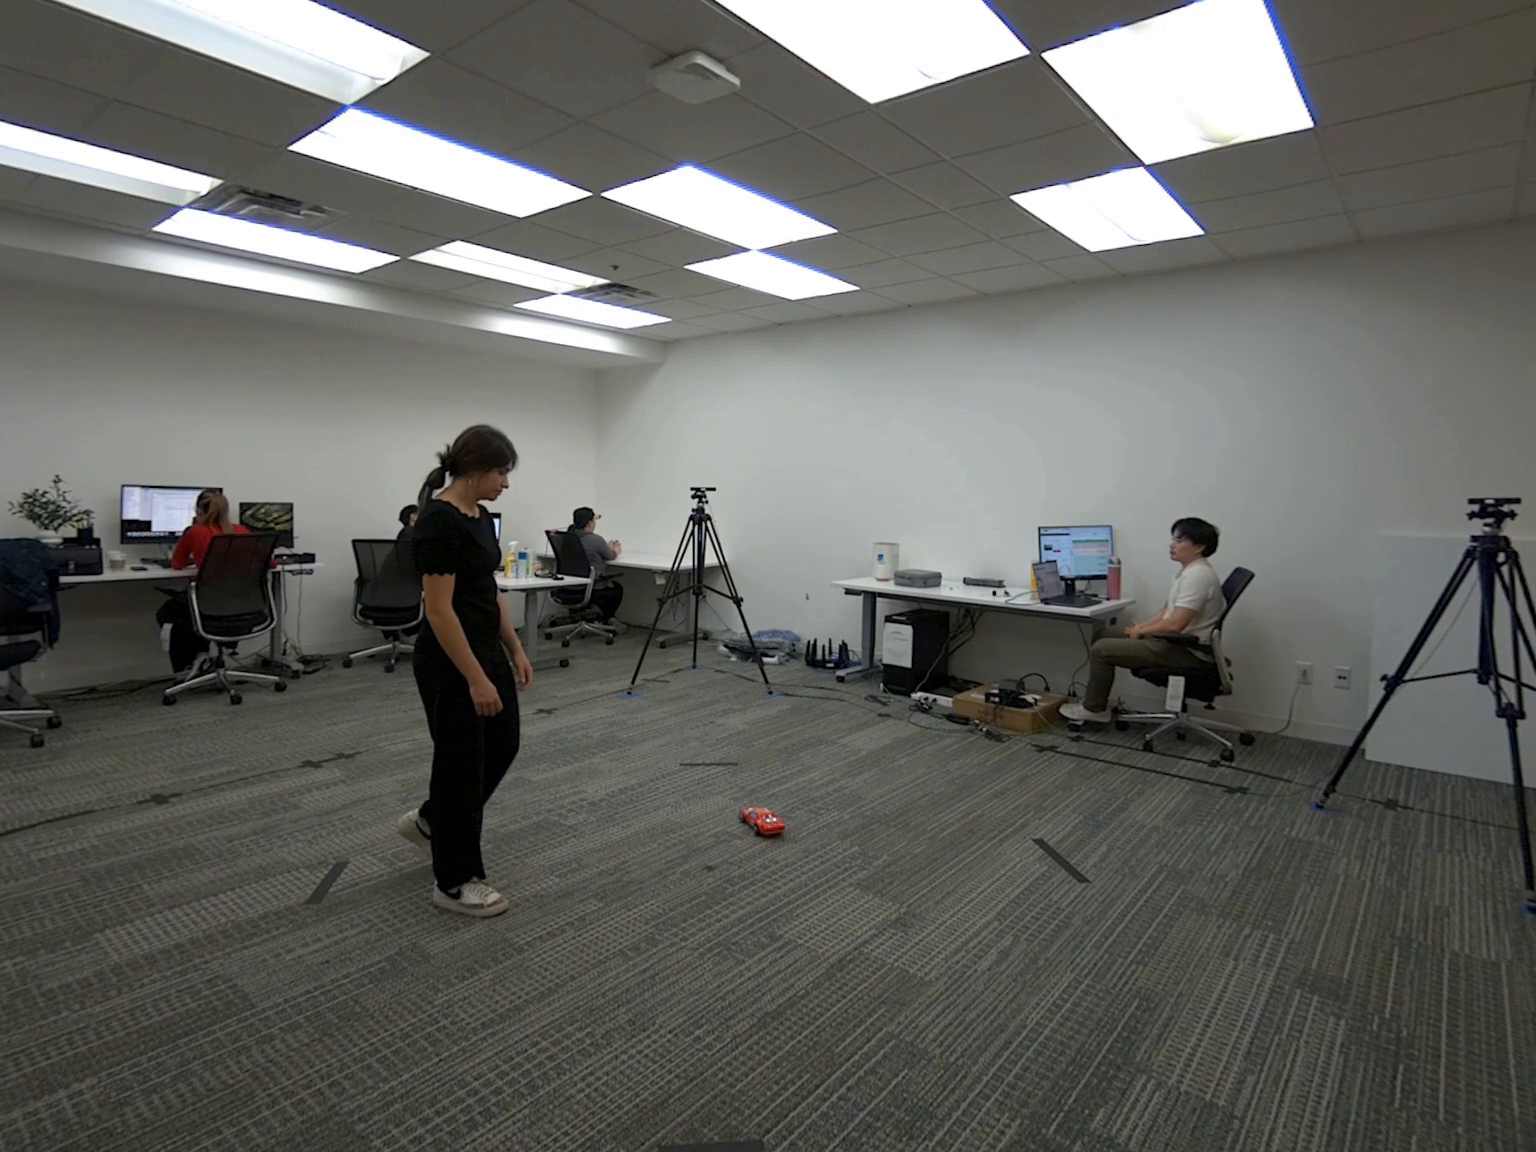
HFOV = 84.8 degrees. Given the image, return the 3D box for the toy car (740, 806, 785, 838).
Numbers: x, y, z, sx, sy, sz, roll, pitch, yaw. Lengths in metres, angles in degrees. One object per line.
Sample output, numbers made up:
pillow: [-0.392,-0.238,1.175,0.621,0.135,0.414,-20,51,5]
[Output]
toy car: [-0.027,1.001,3.485,0.127,0.084,0.259,-1,-5,-25]
